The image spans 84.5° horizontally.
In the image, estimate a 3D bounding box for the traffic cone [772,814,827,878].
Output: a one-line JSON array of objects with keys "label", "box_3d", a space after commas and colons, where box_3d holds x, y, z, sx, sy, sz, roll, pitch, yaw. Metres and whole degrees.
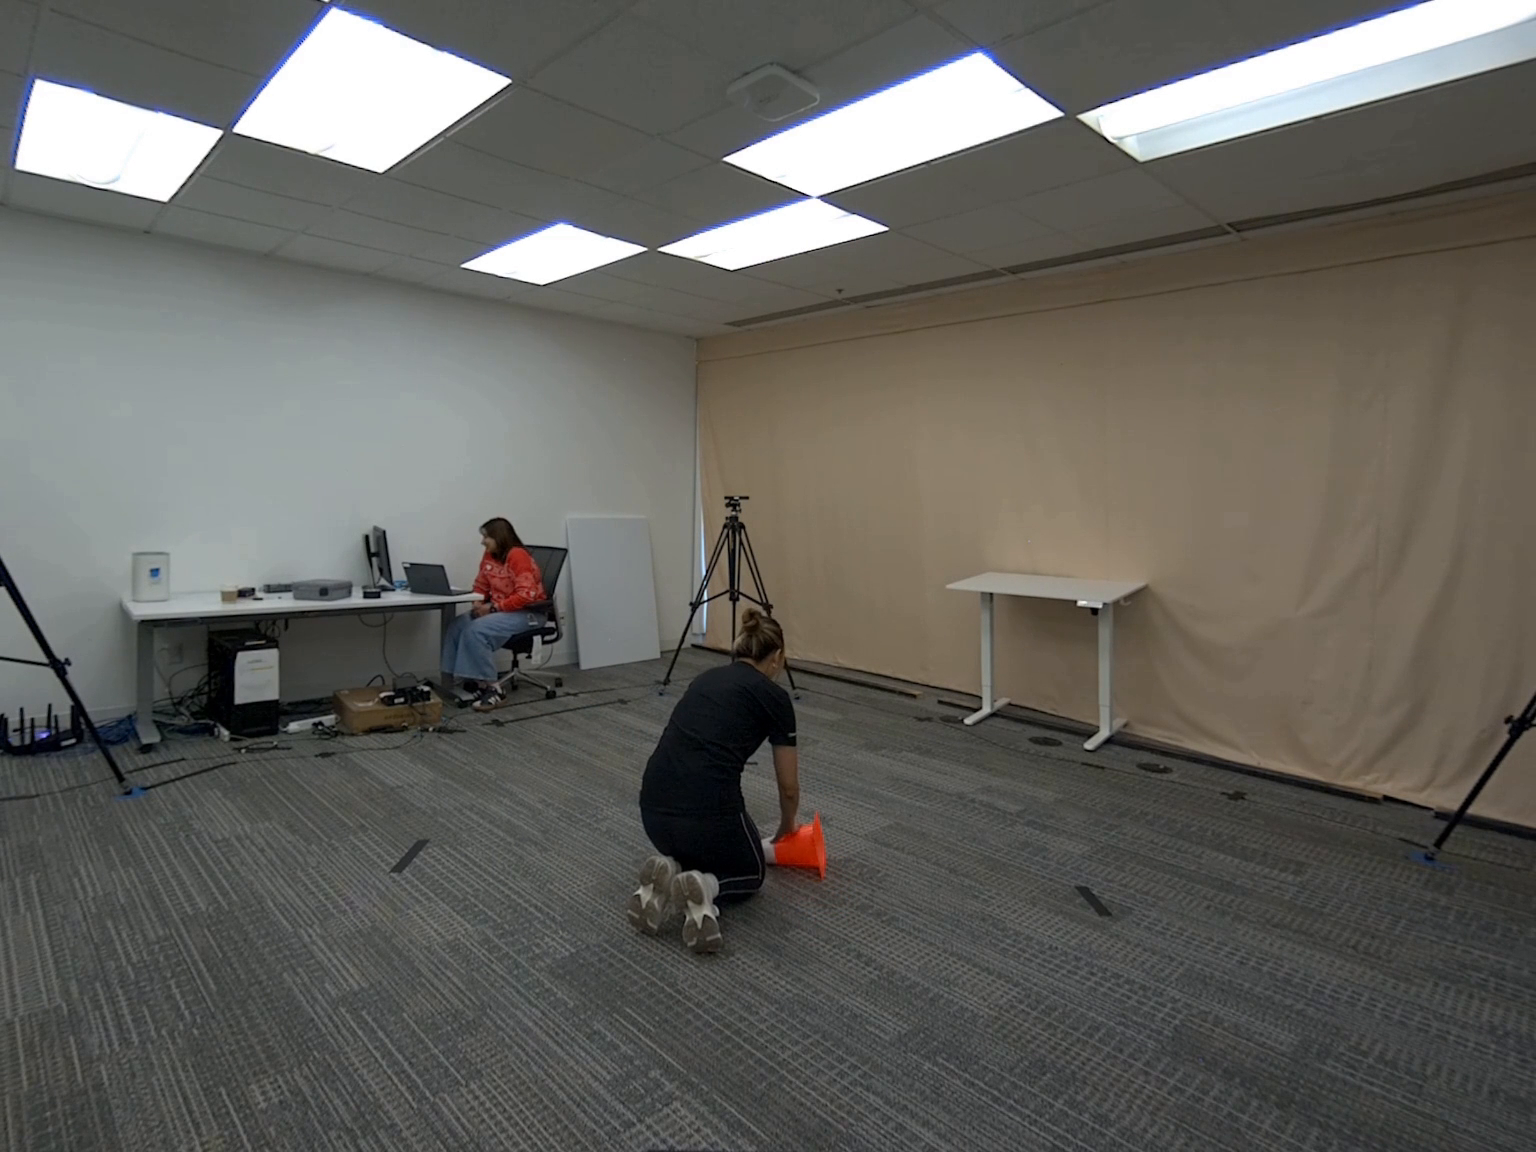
[{"label": "traffic cone", "box_3d": [0.003, 1.049, 3.197, 0.386, 0.203, 0.204, -13, 4, 8]}]
